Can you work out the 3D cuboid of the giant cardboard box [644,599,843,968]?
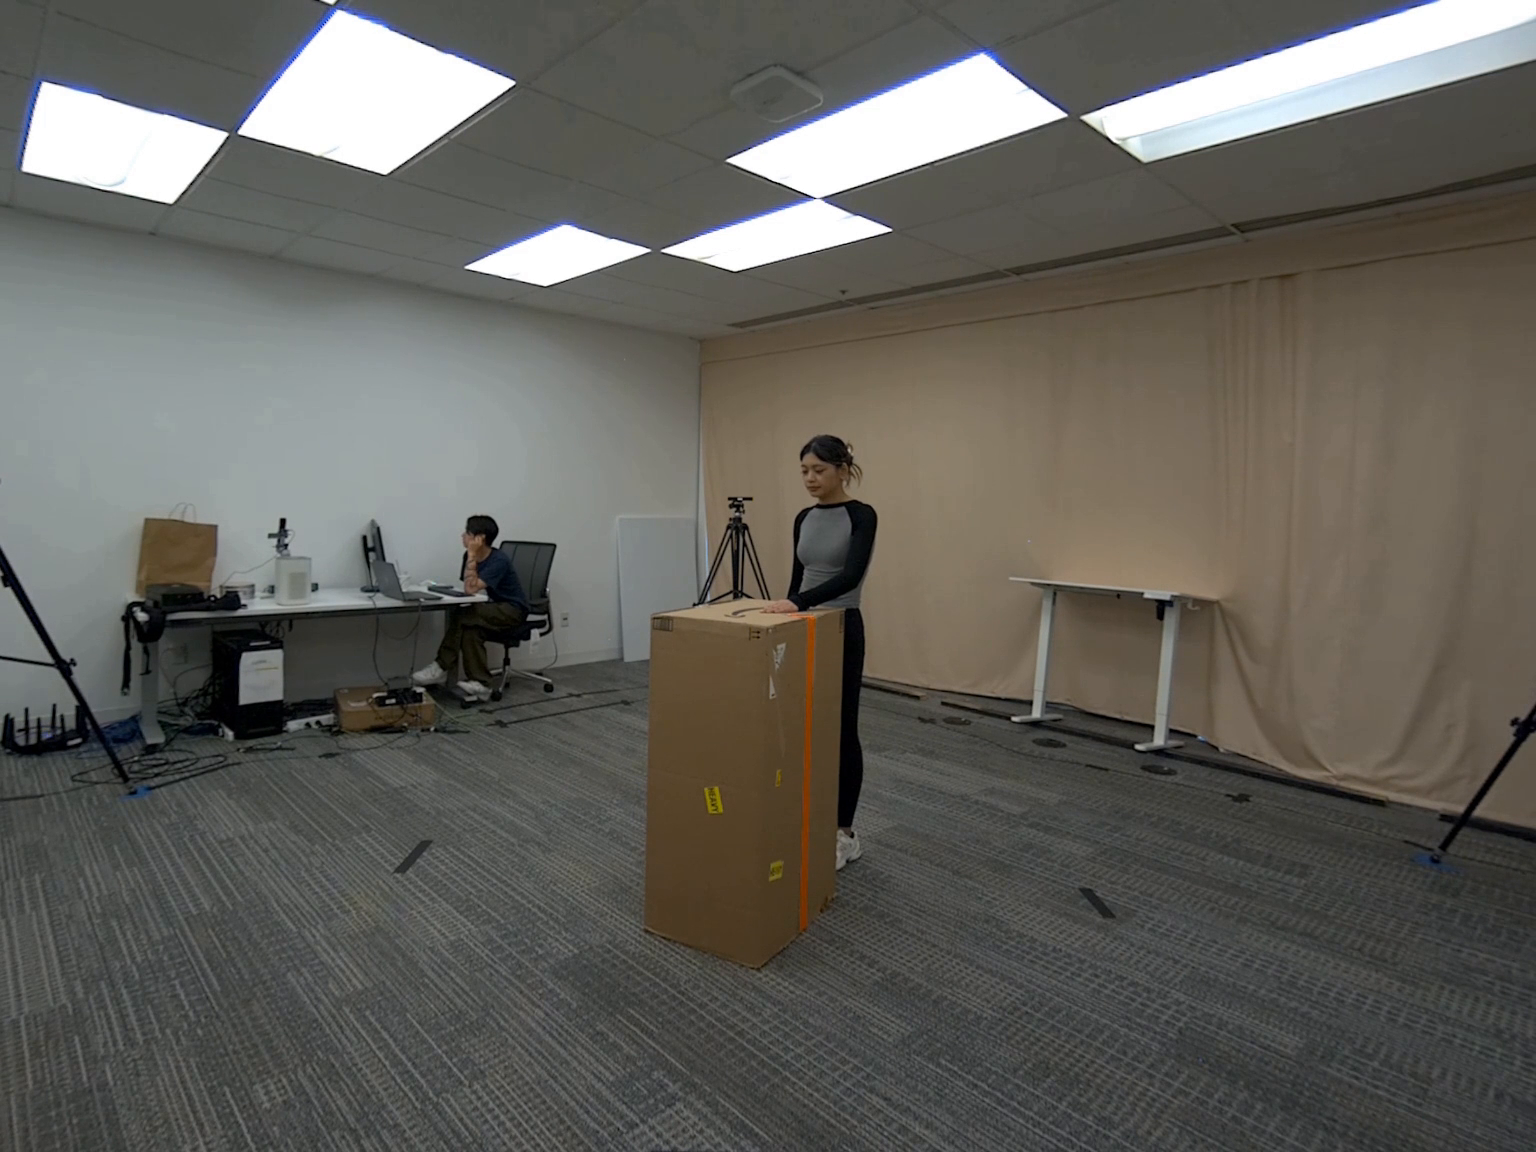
[{"bbox_3d":[-0.070,0.632,2.804,0.456,1.025,0.573,2,3,29],"label":"giant cardboard box"}]
